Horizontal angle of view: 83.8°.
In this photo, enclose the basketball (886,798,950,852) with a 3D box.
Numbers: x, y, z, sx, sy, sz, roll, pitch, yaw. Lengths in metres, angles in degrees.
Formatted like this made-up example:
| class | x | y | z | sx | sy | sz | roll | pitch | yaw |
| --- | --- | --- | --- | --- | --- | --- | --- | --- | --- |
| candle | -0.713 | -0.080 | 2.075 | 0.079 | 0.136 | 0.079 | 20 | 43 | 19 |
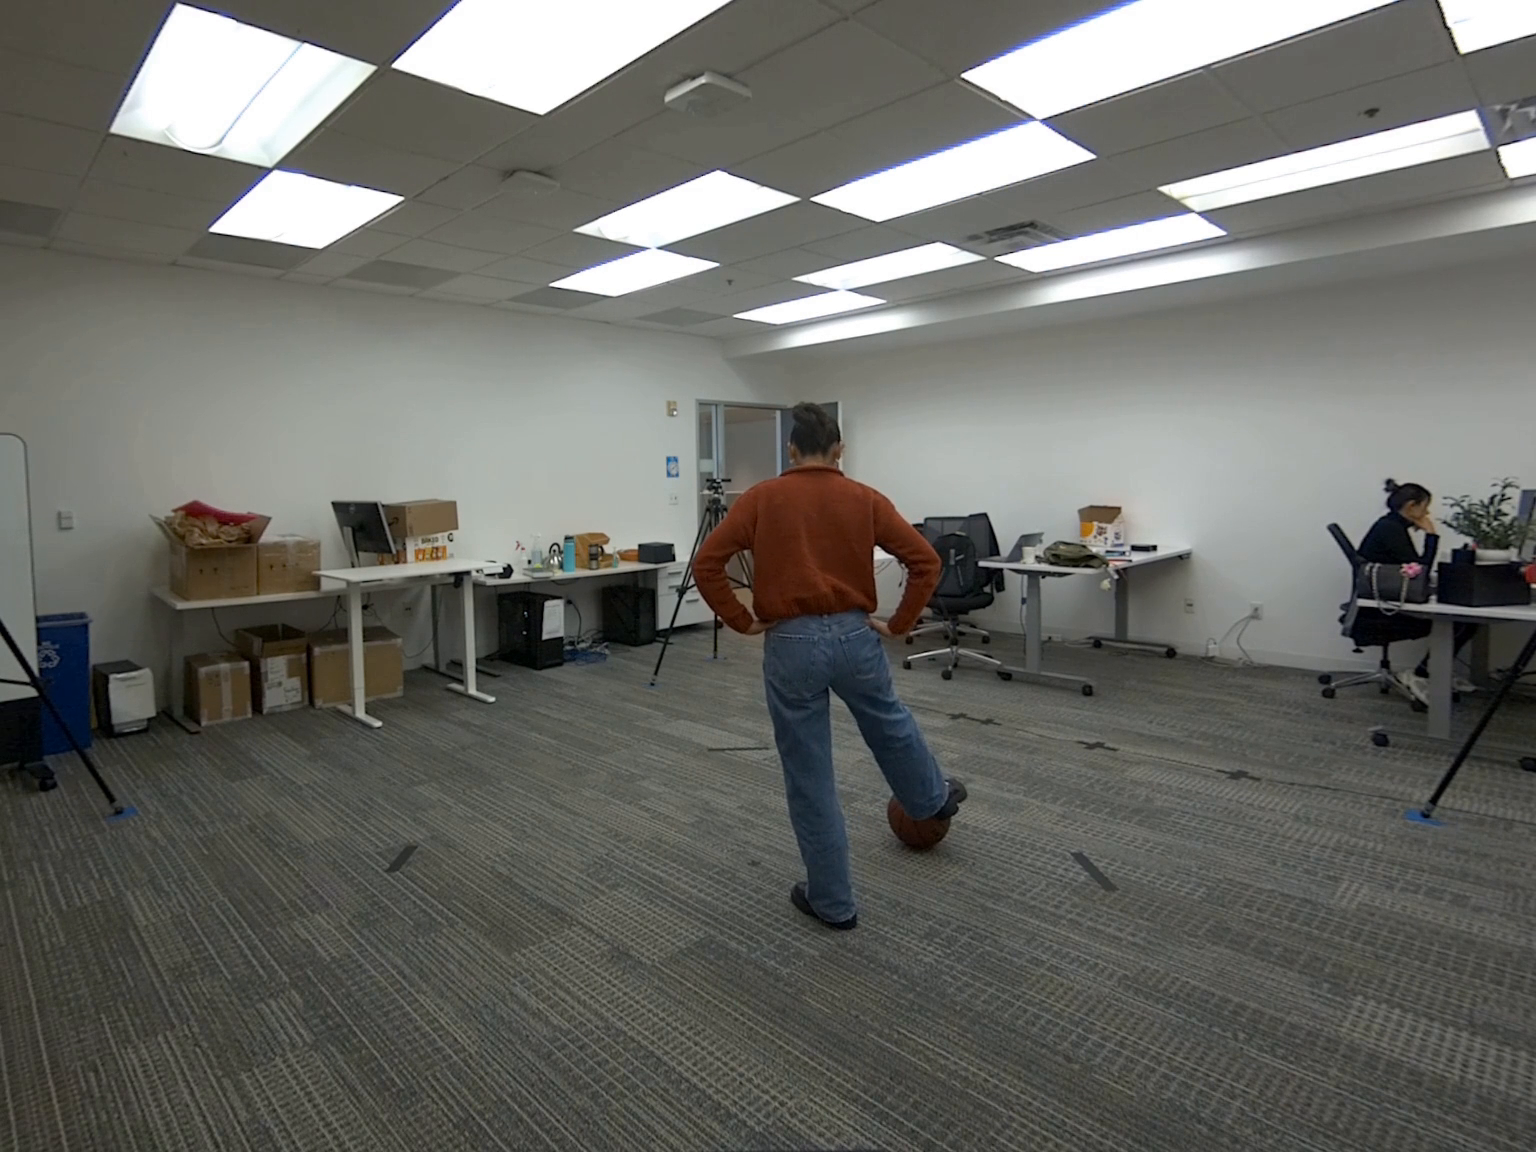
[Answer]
| class | x | y | z | sx | sy | sz | roll | pitch | yaw |
| --- | --- | --- | --- | --- | --- | --- | --- | --- | --- |
| basketball | 0.569 | 0.898 | 3.239 | 0.236 | 0.235 | 0.237 | -1 | 5 | -2 |
